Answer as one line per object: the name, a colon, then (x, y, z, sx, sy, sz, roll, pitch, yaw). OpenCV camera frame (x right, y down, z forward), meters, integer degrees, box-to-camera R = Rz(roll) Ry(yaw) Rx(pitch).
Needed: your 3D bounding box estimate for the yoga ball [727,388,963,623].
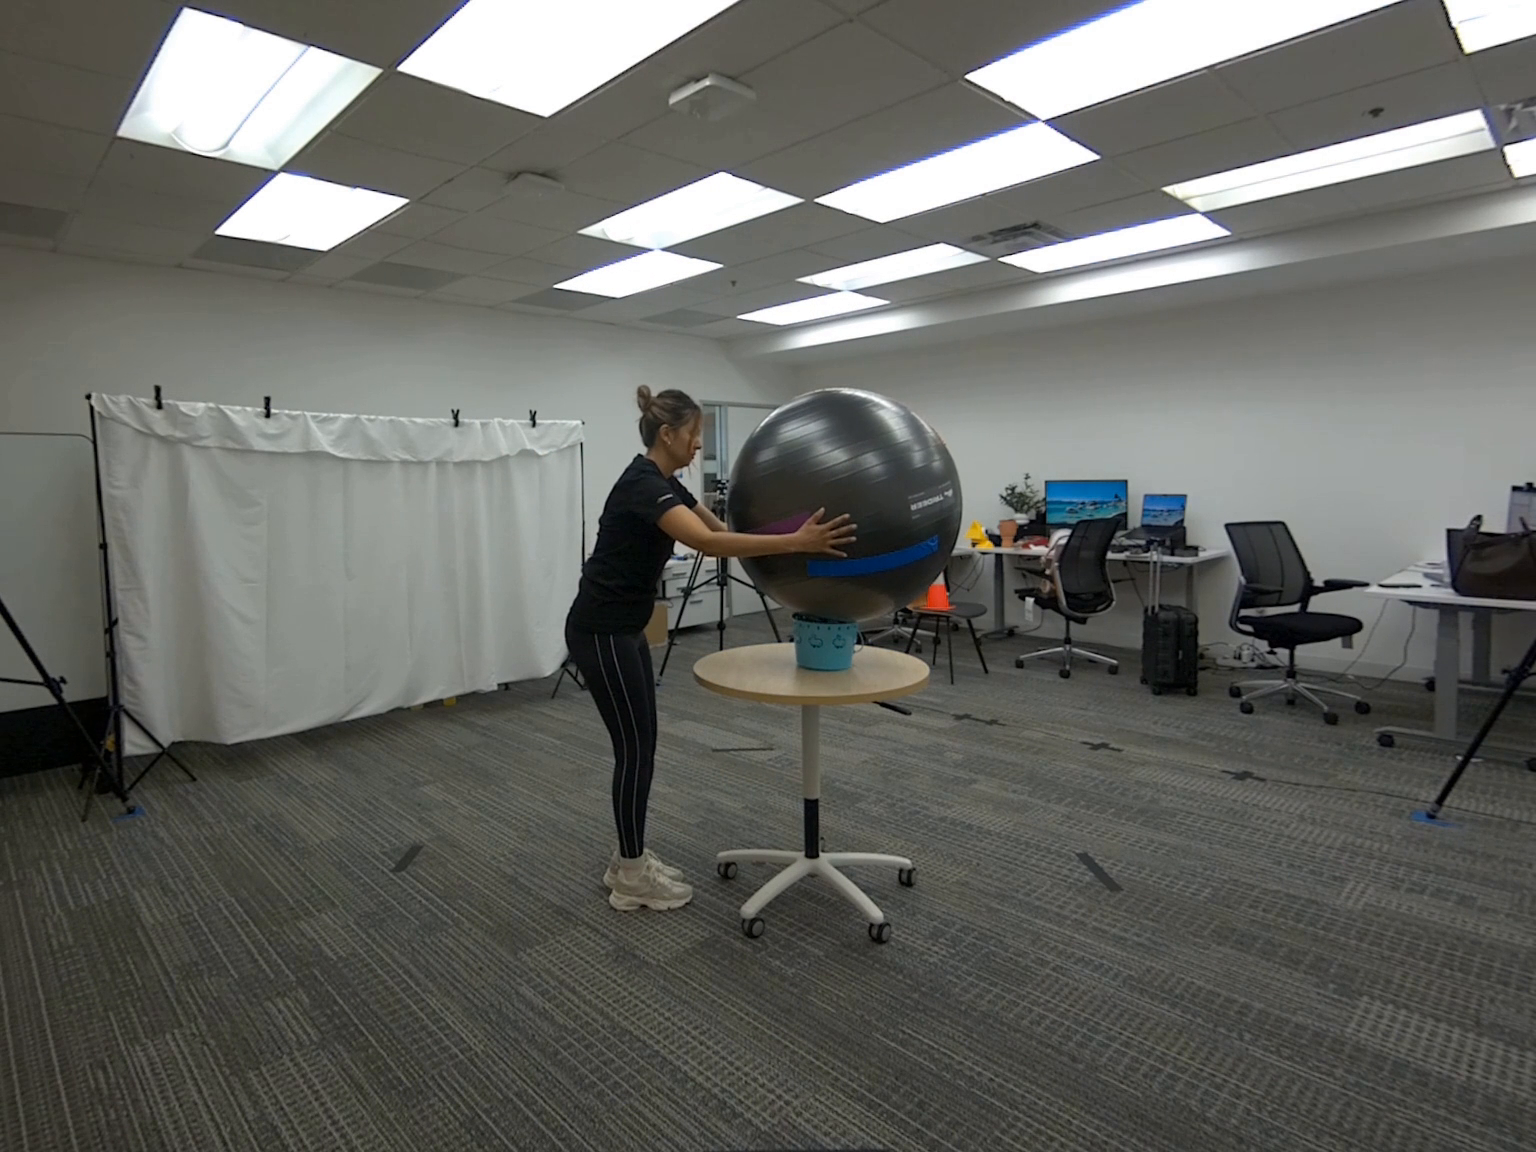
yoga ball: (0.255, -0.219, 2.772, 0.757, 0.755, 0.762, -1, 5, -2)
